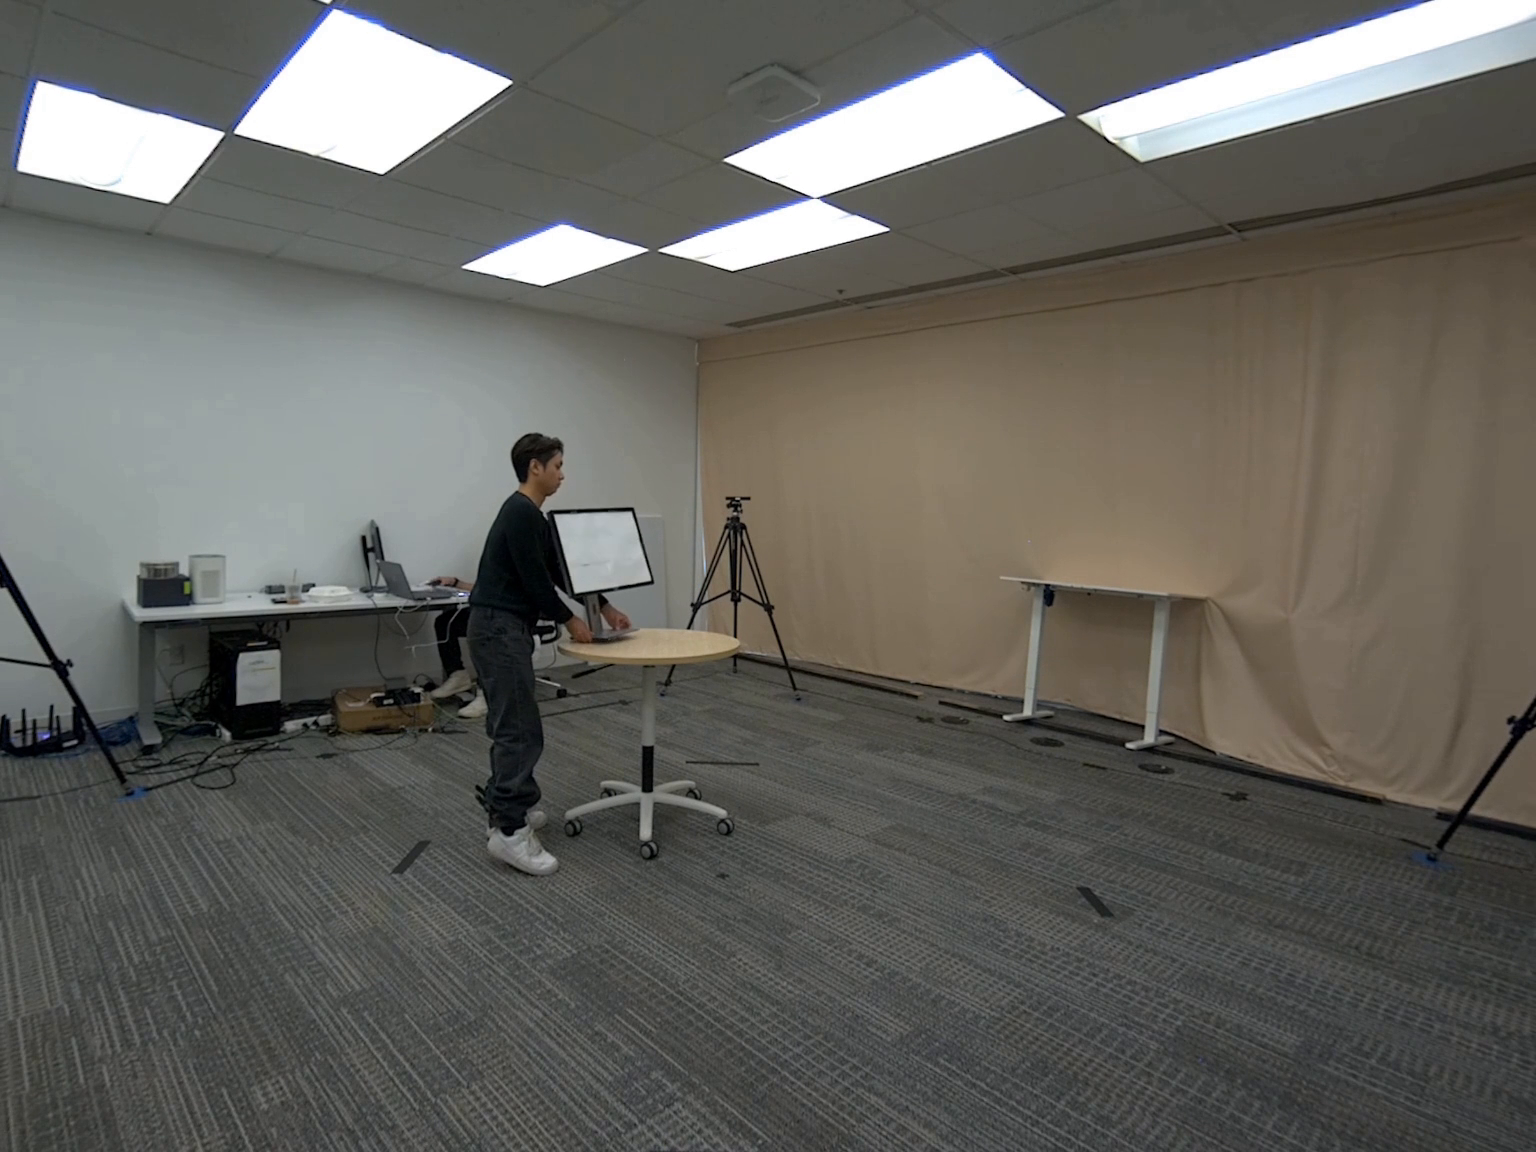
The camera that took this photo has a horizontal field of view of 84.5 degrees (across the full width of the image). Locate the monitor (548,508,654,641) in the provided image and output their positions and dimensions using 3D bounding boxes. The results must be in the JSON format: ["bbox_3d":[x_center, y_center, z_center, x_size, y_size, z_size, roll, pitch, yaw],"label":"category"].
[{"bbox_3d":[-0.732,-0.019,3.601,0.190,0.521,0.530,-2,4,26],"label":"monitor"}]
